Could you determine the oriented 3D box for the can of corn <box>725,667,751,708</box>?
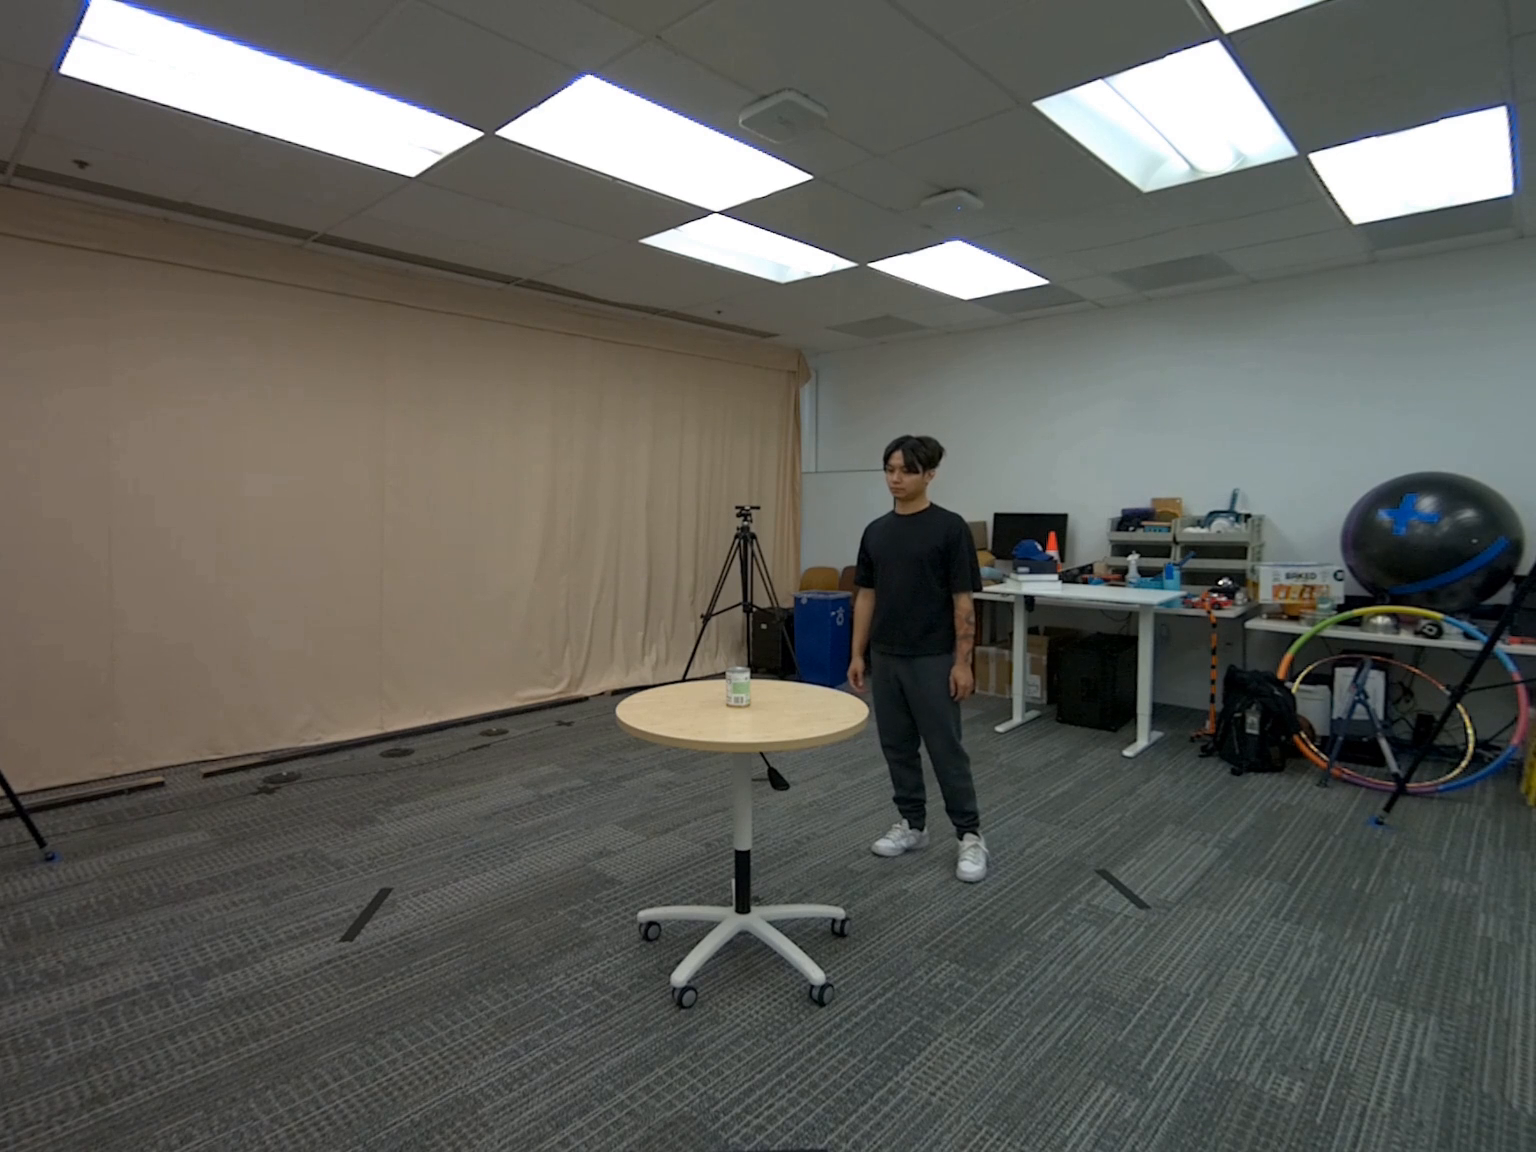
[{"bbox_3d":[-0.084,0.344,2.575,0.074,0.111,0.074,-3,4,-2],"label":"can of corn"}]
